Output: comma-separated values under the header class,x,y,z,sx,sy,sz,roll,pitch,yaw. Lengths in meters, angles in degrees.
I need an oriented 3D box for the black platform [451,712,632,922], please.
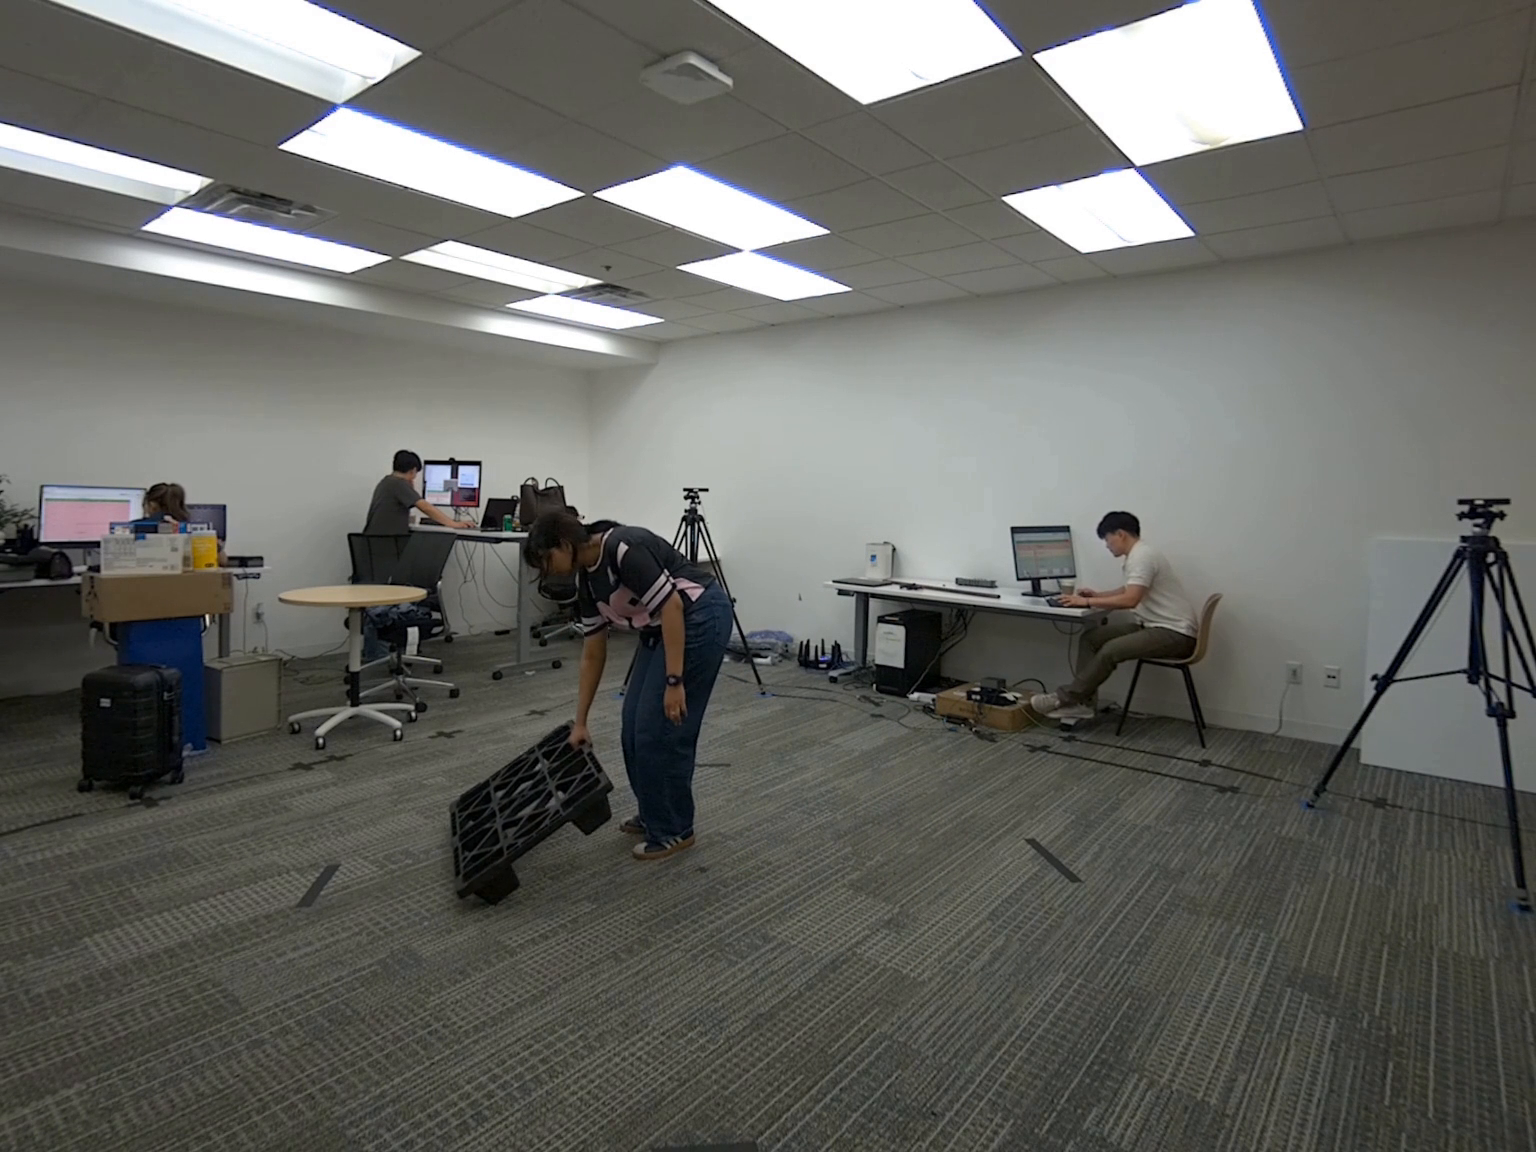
class,x,y,z,sx,sy,sz,roll,pitch,yaw
black platform,-0.895,0.860,3.195,0.602,0.140,0.825,-34,17,-14
